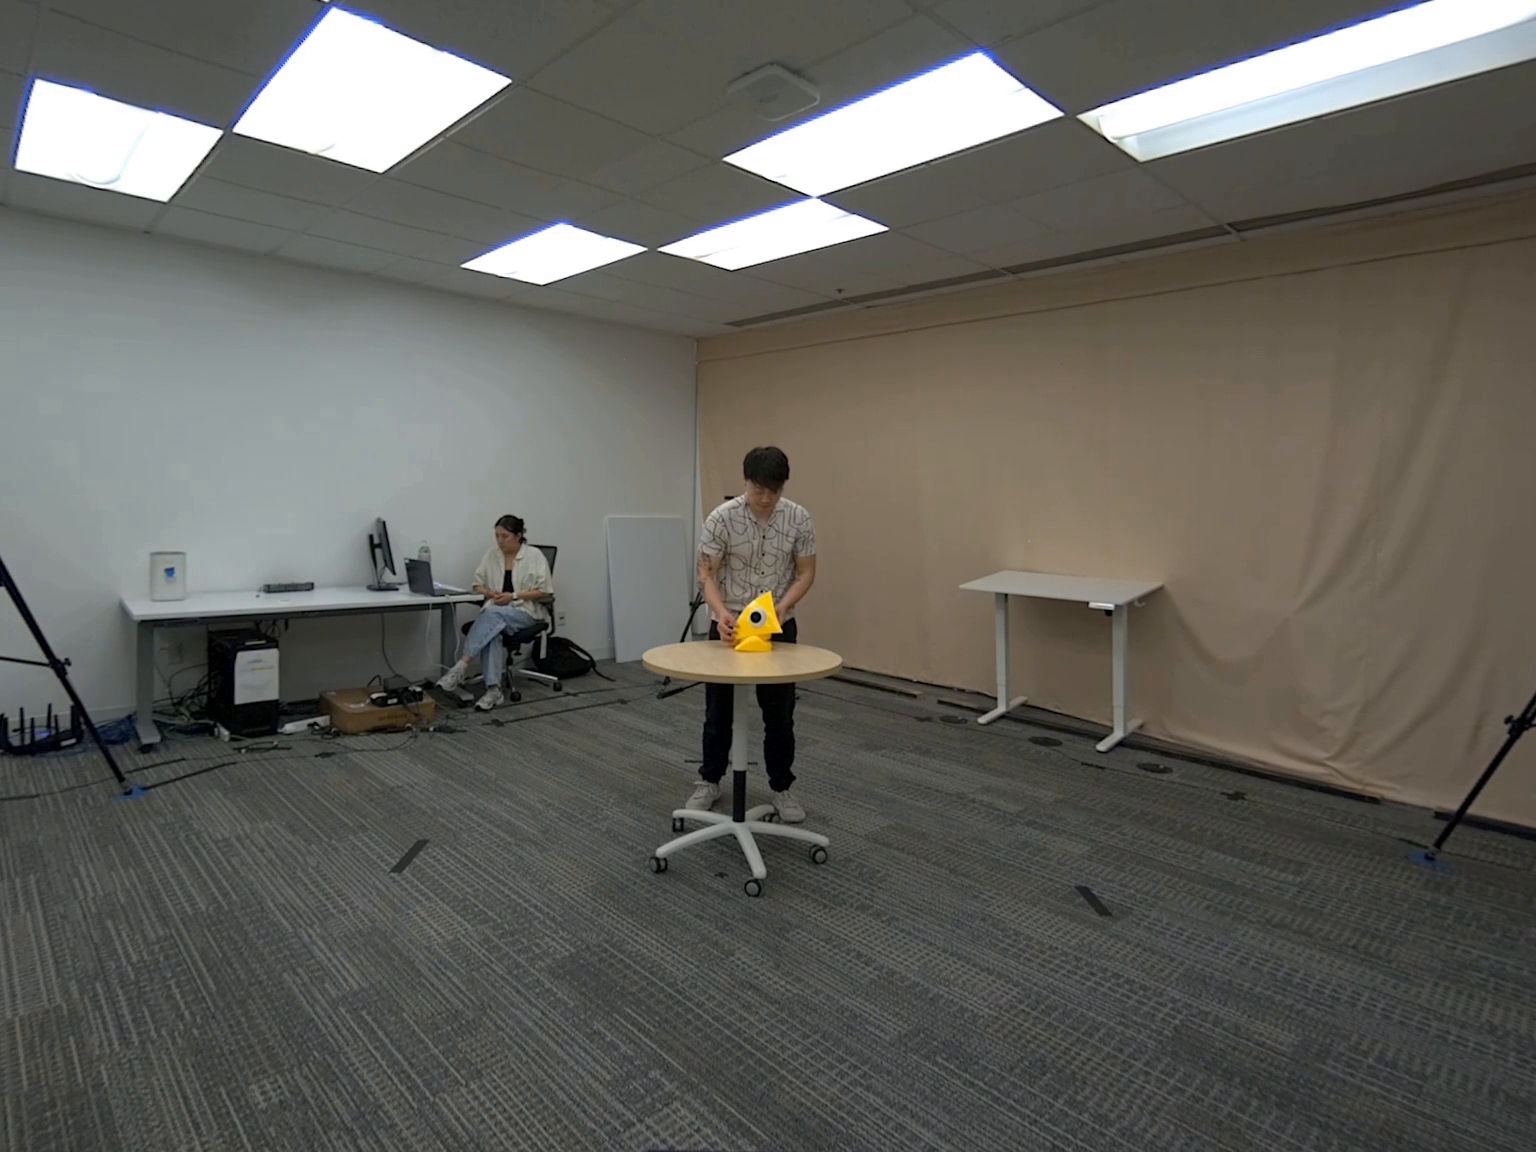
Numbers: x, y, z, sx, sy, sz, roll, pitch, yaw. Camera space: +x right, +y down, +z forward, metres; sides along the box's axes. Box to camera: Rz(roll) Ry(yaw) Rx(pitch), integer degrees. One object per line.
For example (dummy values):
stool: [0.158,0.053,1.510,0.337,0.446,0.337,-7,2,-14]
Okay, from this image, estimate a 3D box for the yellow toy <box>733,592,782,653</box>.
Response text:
yellow toy: [-0.067,0.177,3.431,0.191,0.230,0.208,2,3,-15]
